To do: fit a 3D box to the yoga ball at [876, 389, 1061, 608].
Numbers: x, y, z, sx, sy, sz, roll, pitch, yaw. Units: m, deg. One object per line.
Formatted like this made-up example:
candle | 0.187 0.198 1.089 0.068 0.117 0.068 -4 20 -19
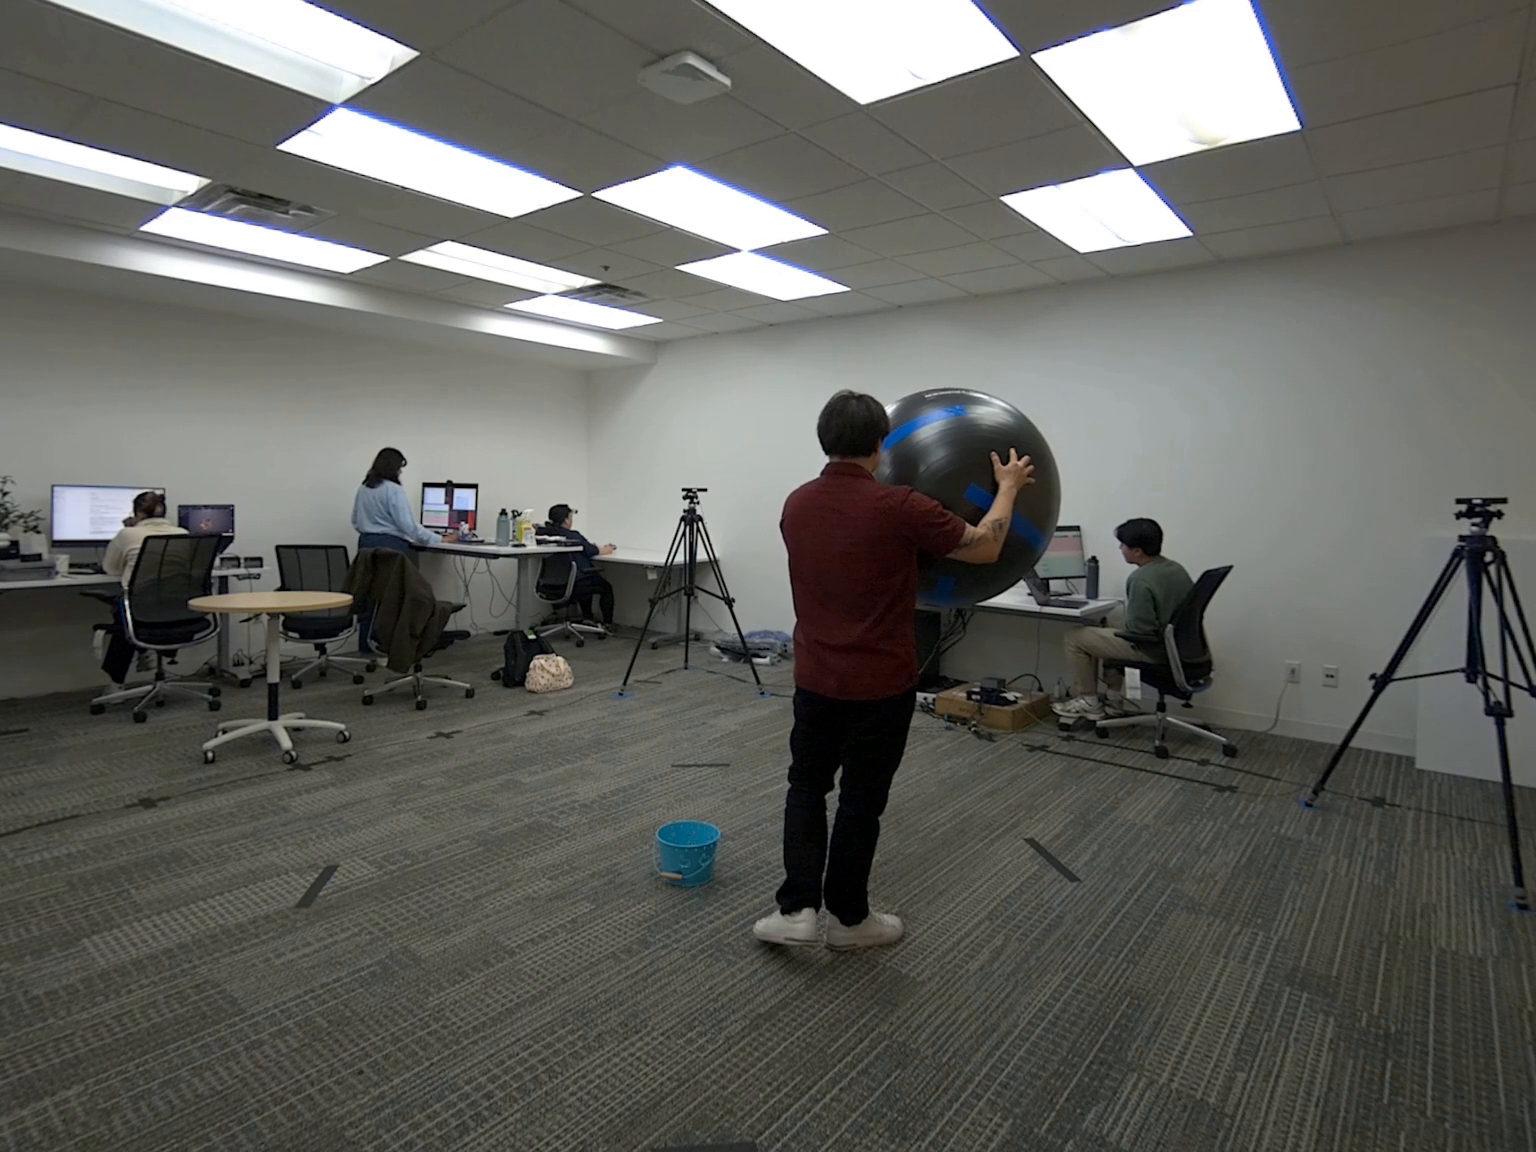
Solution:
yoga ball | 0.616 -0.273 2.972 0.757 0.756 0.761 1 4 -2
